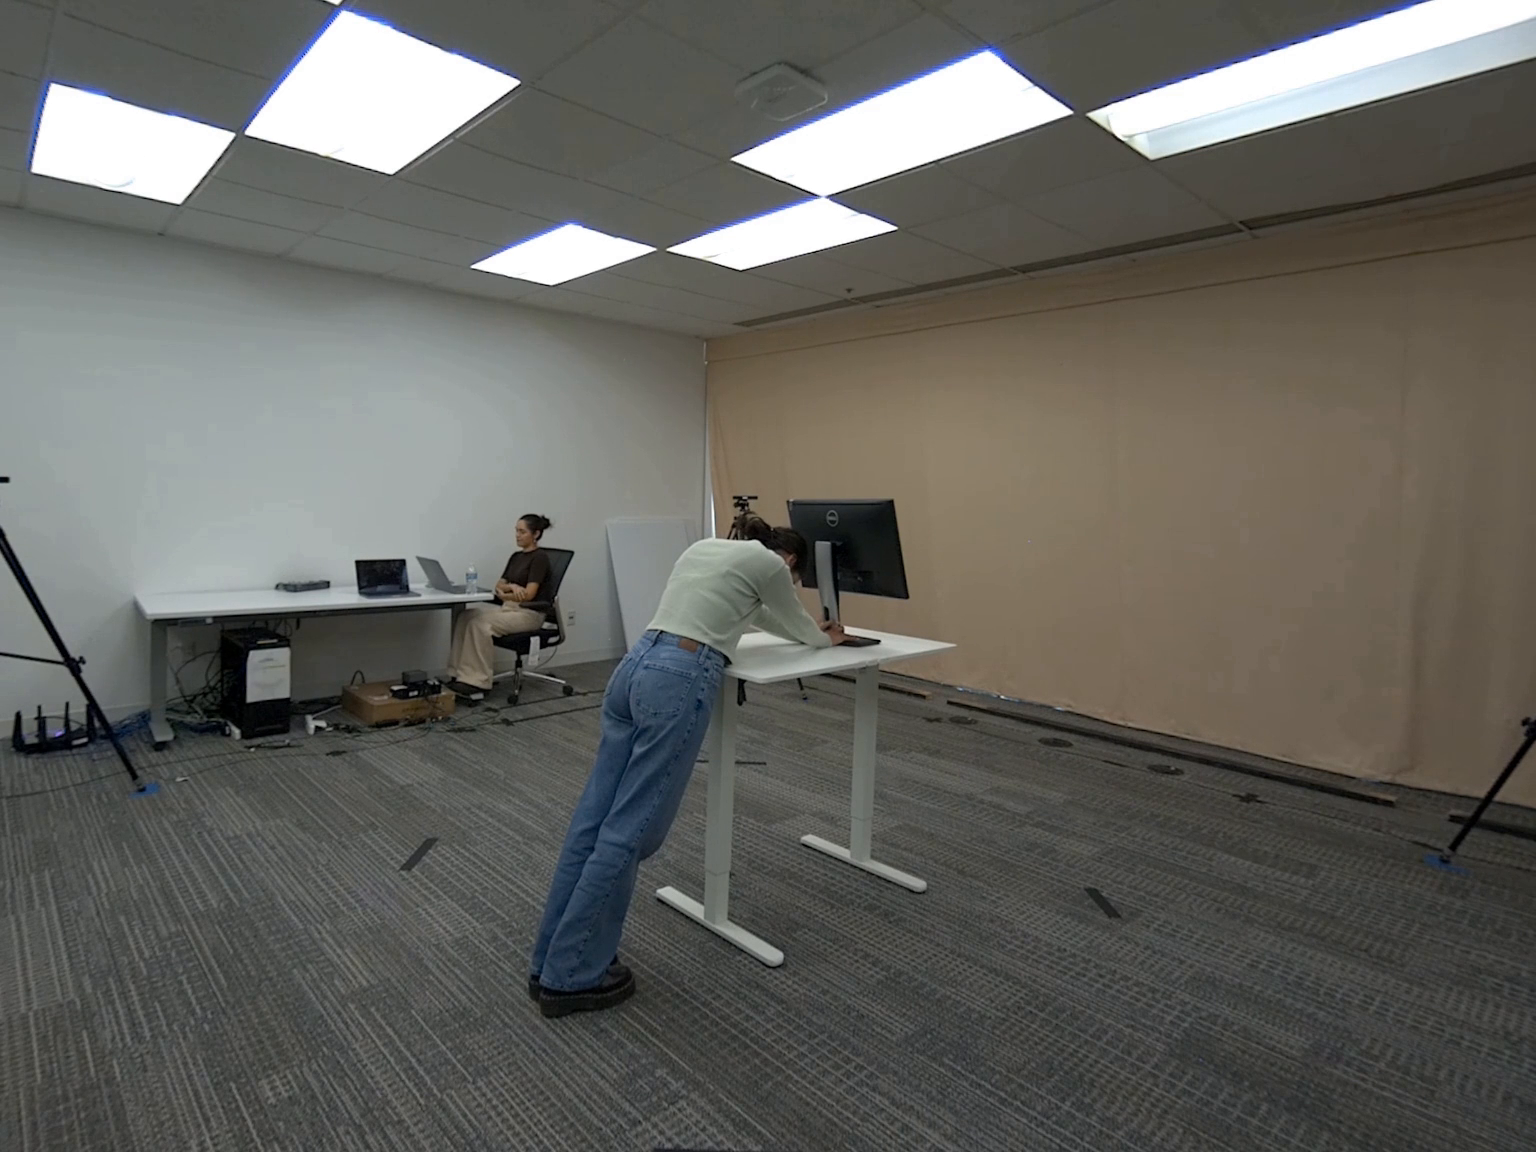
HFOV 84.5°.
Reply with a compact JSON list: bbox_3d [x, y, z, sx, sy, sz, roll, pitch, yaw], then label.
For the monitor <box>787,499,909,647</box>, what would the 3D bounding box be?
[{"bbox_3d":[0.252,-0.016,3.042,0.183,0.521,0.552,-4,6,-40],"label":"monitor"}]
